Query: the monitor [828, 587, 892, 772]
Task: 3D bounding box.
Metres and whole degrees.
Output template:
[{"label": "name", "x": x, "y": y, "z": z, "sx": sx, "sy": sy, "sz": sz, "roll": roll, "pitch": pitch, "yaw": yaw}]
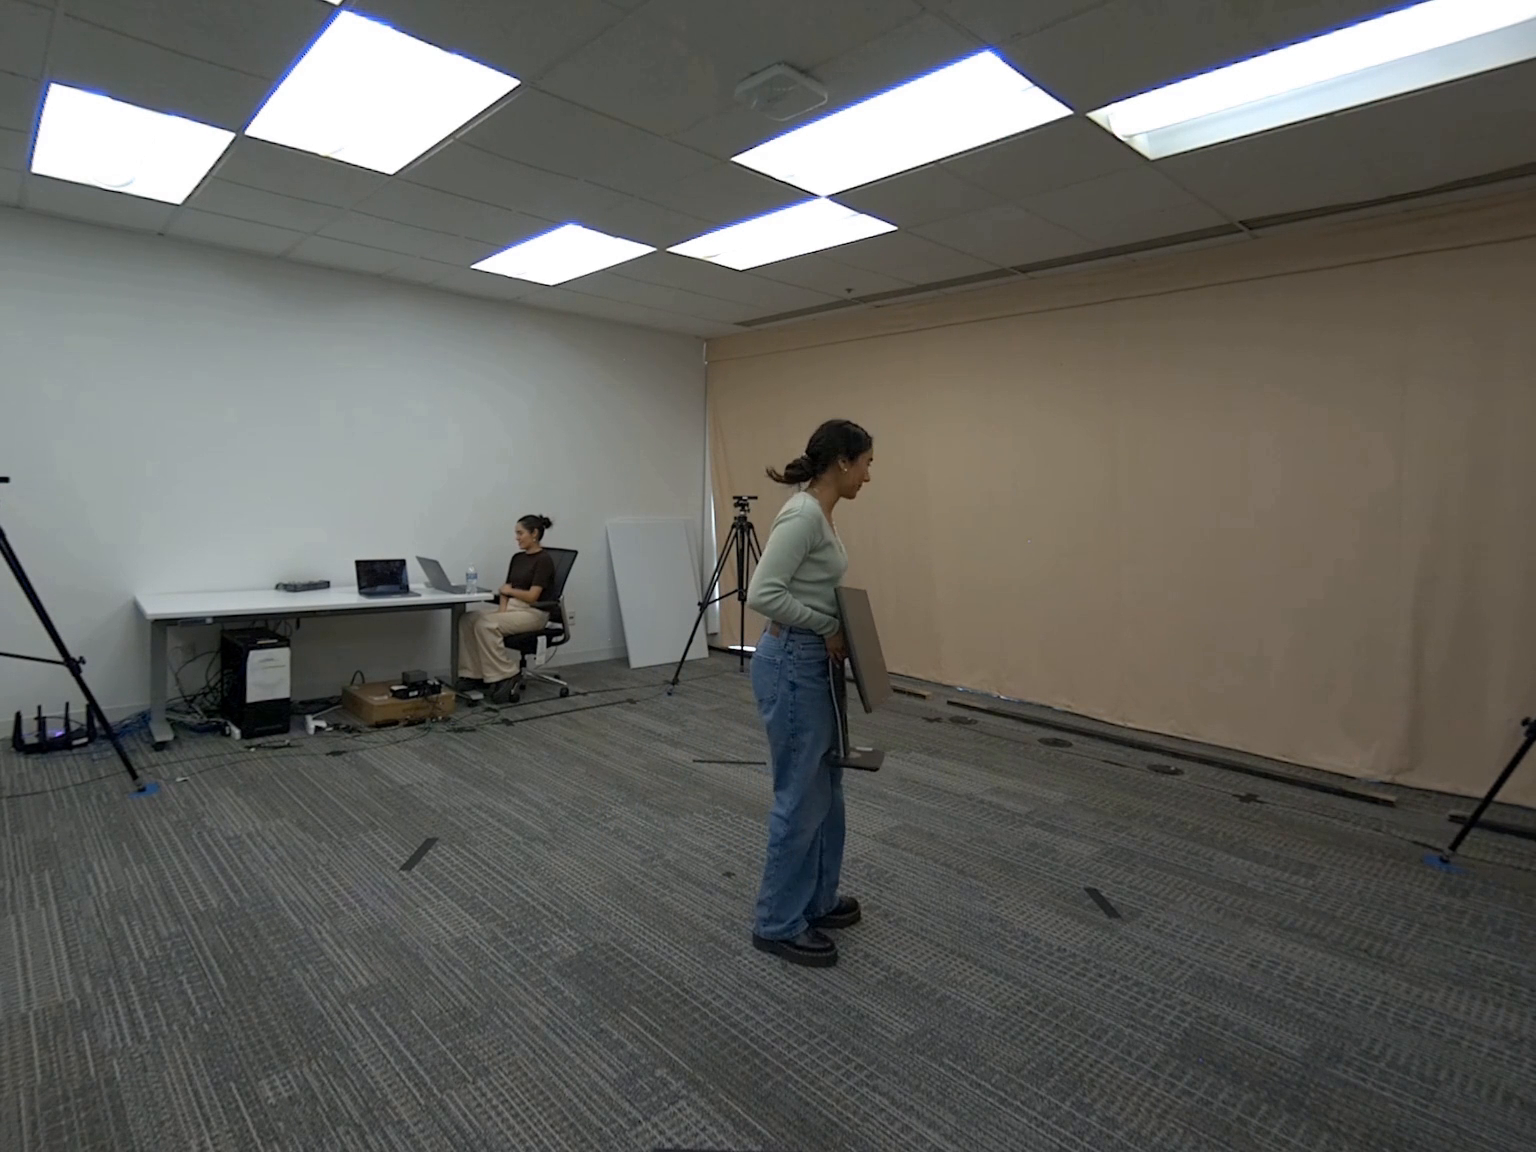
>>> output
[{"label": "monitor", "x": 0.265, "y": 0.289, "z": 2.527, "sx": 0.177, "sy": 0.517, "sz": 0.523, "roll": 3, "pitch": -2, "yaw": 13}]
